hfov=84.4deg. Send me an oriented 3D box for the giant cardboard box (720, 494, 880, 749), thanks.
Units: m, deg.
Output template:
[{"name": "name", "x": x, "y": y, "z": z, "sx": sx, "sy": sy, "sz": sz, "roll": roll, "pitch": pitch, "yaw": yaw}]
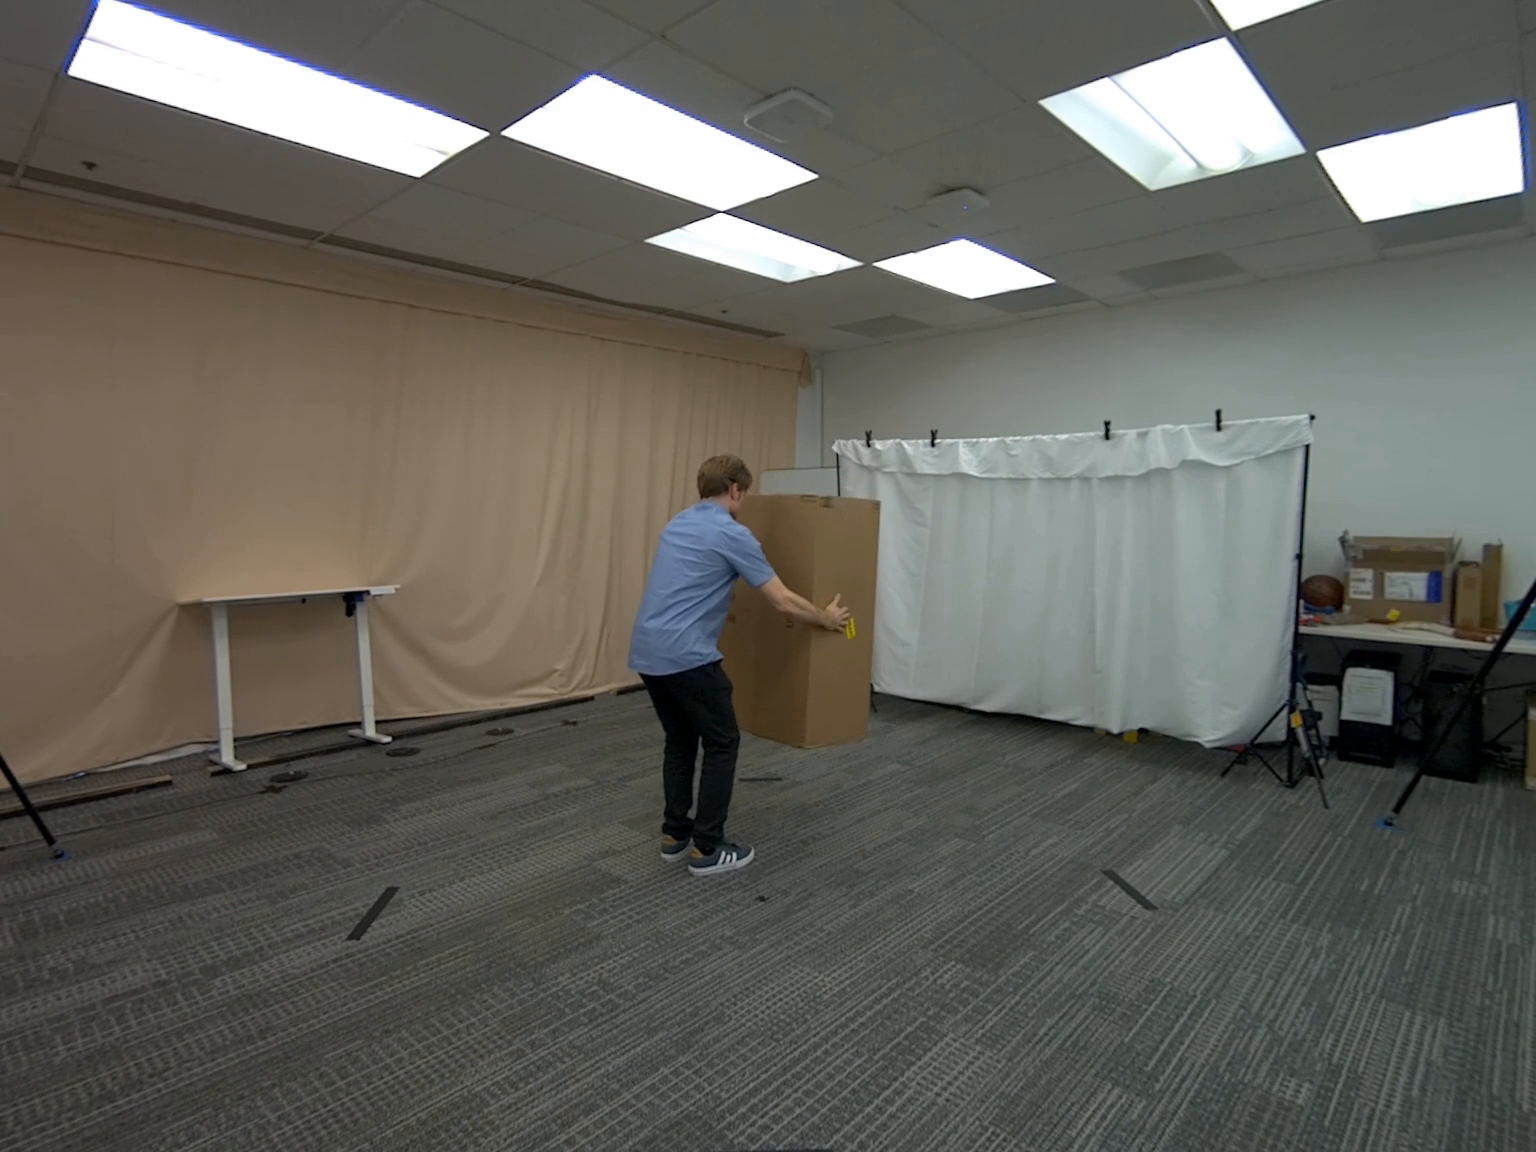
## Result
[{"name": "giant cardboard box", "x": 0.116, "y": 0.171, "z": 3.687, "sx": 0.412, "sy": 1.025, "sz": 0.597, "roll": 1, "pitch": 3, "yaw": -45}]
